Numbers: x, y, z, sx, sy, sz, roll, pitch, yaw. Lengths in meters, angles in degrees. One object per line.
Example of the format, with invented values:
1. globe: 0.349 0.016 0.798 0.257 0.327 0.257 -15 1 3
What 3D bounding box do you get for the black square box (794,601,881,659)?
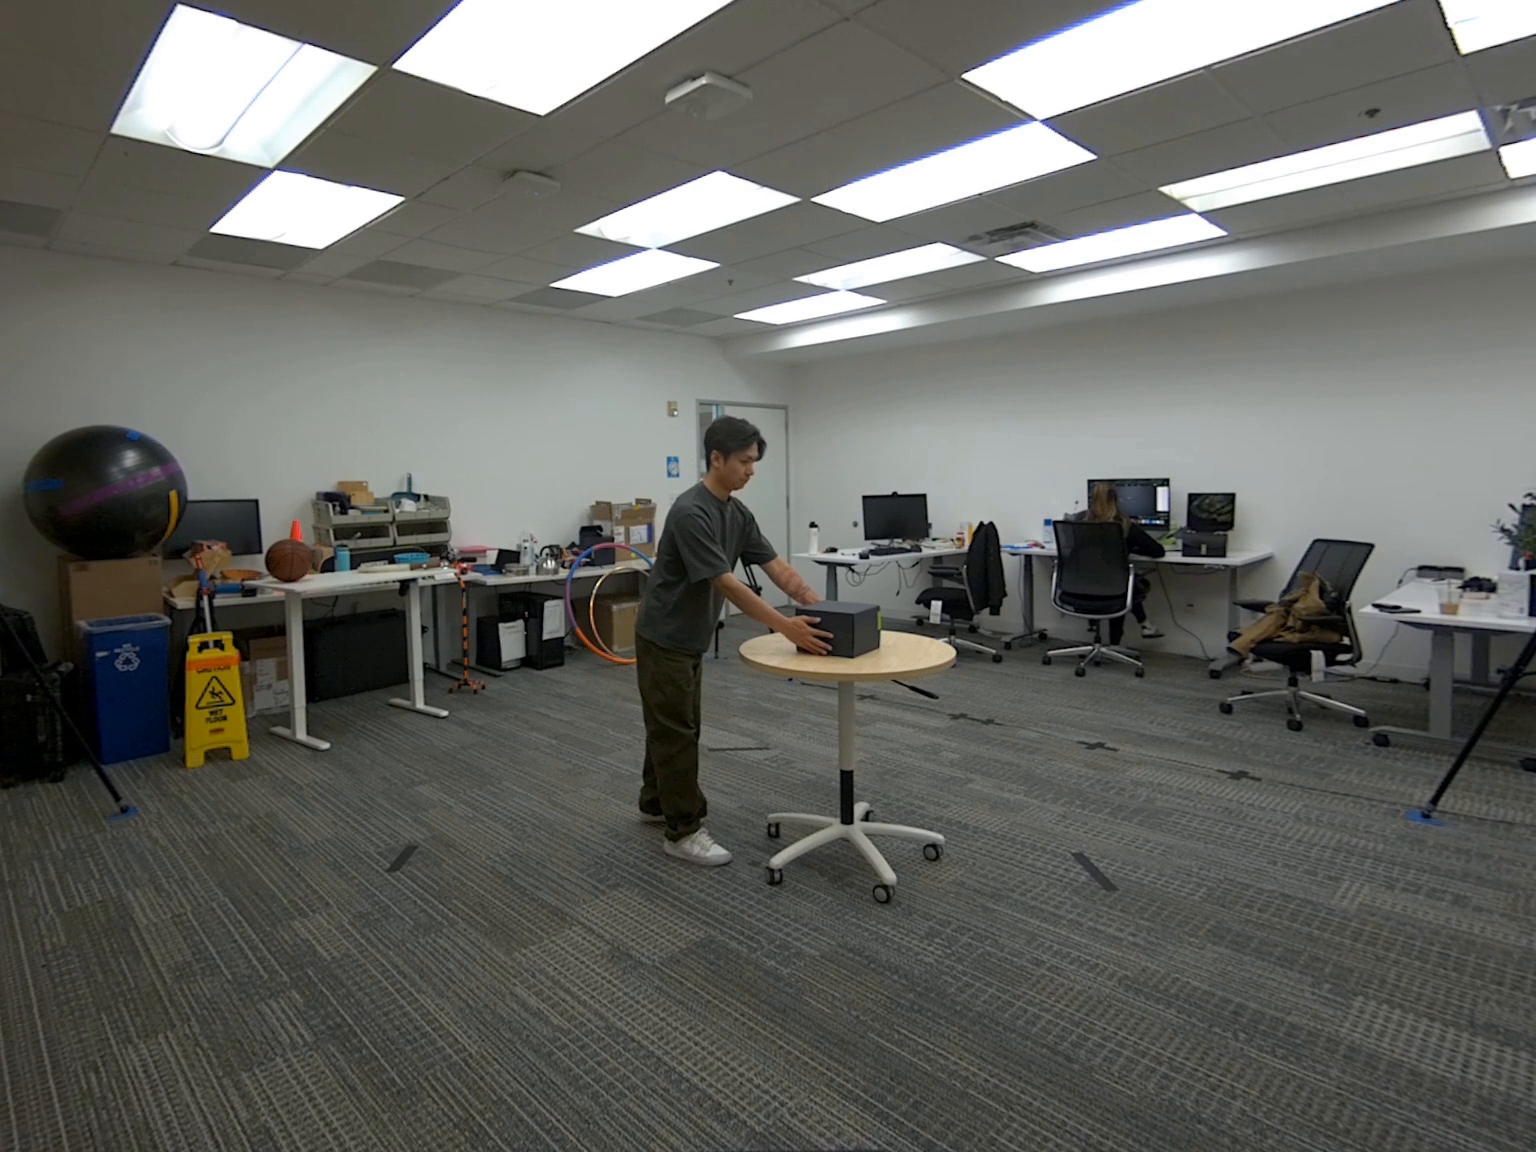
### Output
1. black square box: 0.255 0.184 3.036 0.234 0.155 0.212 3 6 34
